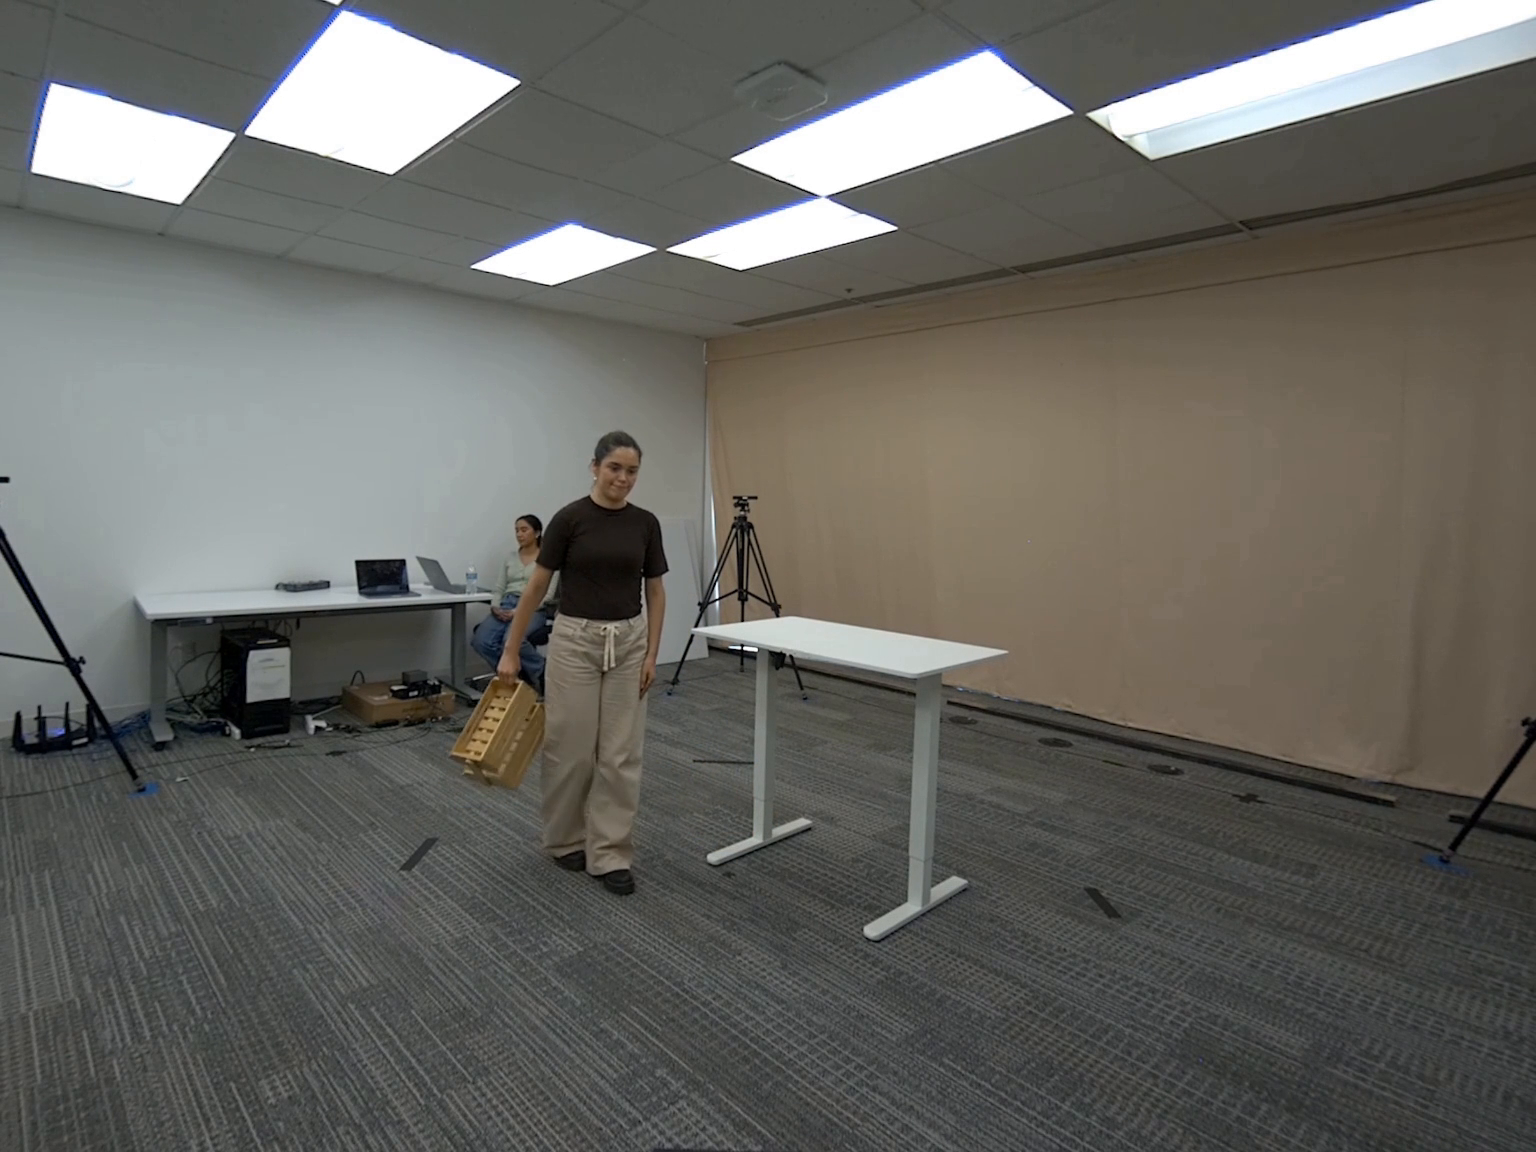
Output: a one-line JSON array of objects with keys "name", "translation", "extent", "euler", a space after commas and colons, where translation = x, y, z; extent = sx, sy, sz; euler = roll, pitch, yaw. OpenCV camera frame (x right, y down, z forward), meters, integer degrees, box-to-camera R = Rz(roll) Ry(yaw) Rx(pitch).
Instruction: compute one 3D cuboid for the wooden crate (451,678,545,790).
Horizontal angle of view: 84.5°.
[{"name": "wooden crate", "translation": [-0.971, 0.554, 2.995], "extent": [0.308, 0.327, 0.265], "euler": [1, -37, 31]}]
